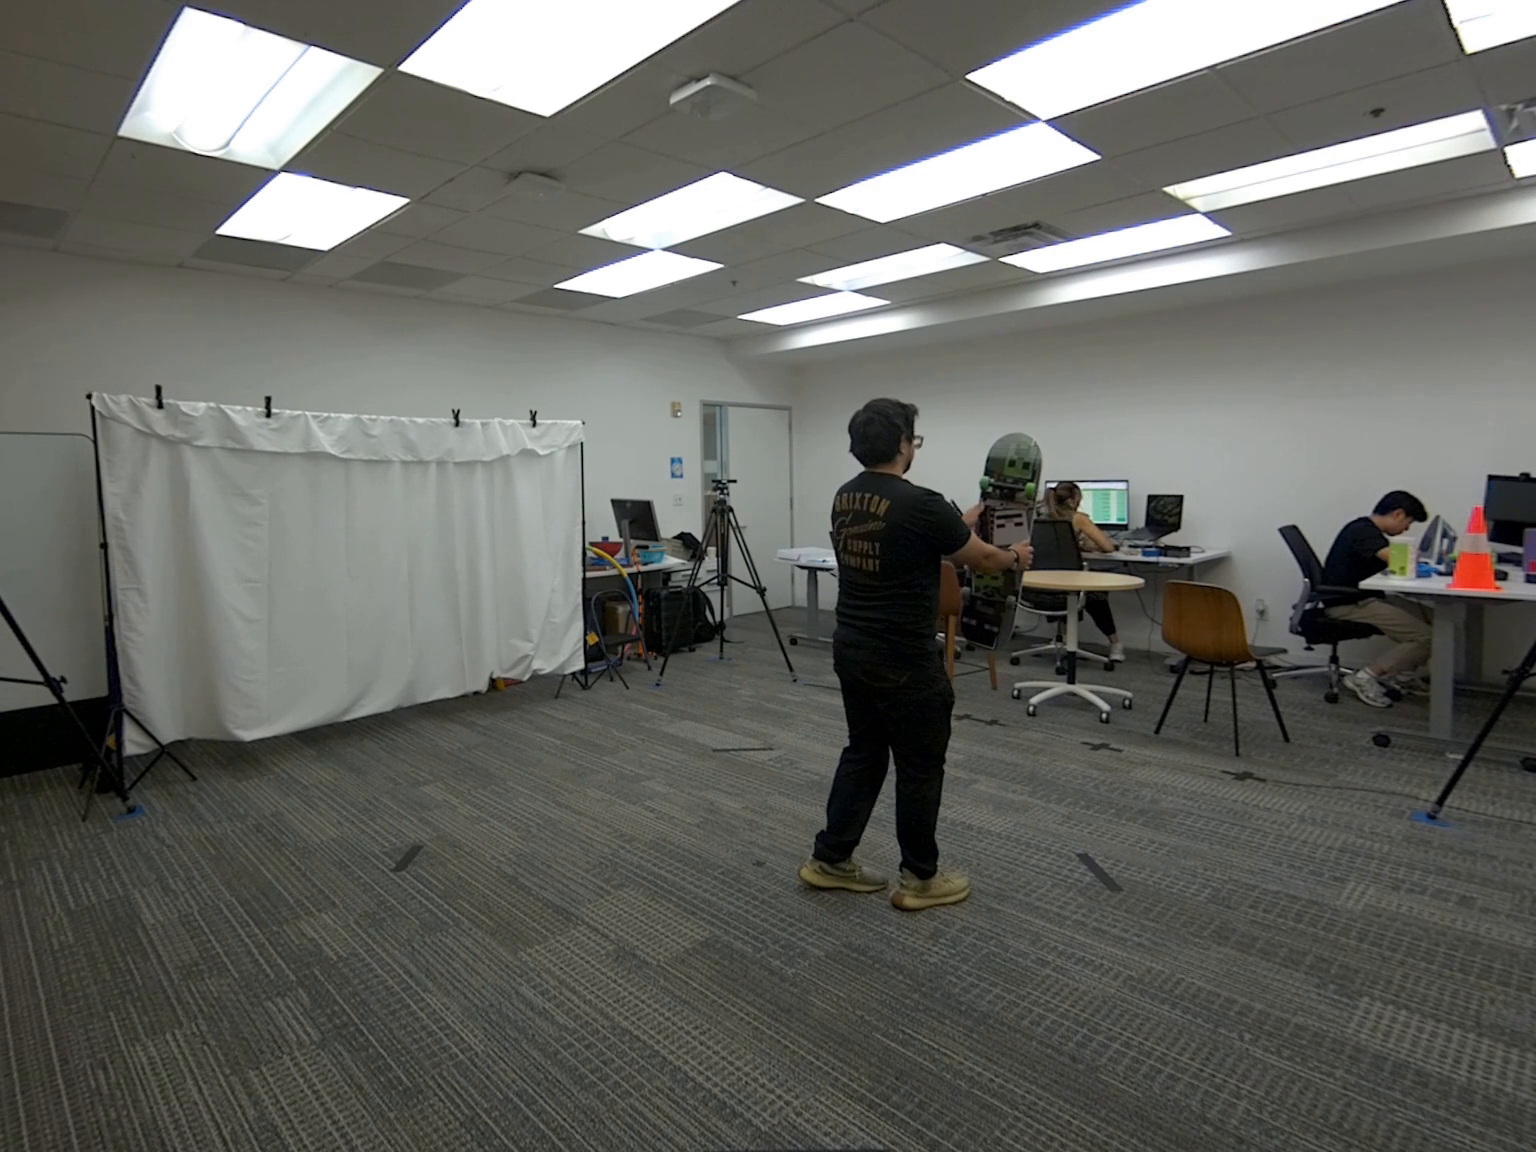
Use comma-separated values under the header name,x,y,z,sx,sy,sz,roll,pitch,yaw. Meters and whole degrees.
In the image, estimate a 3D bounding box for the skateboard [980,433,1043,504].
name,x,y,z,sx,sy,sz,roll,pitch,yaw
skateboard,0.817,-0.116,3.018,0.199,0.782,0.108,11,5,26
